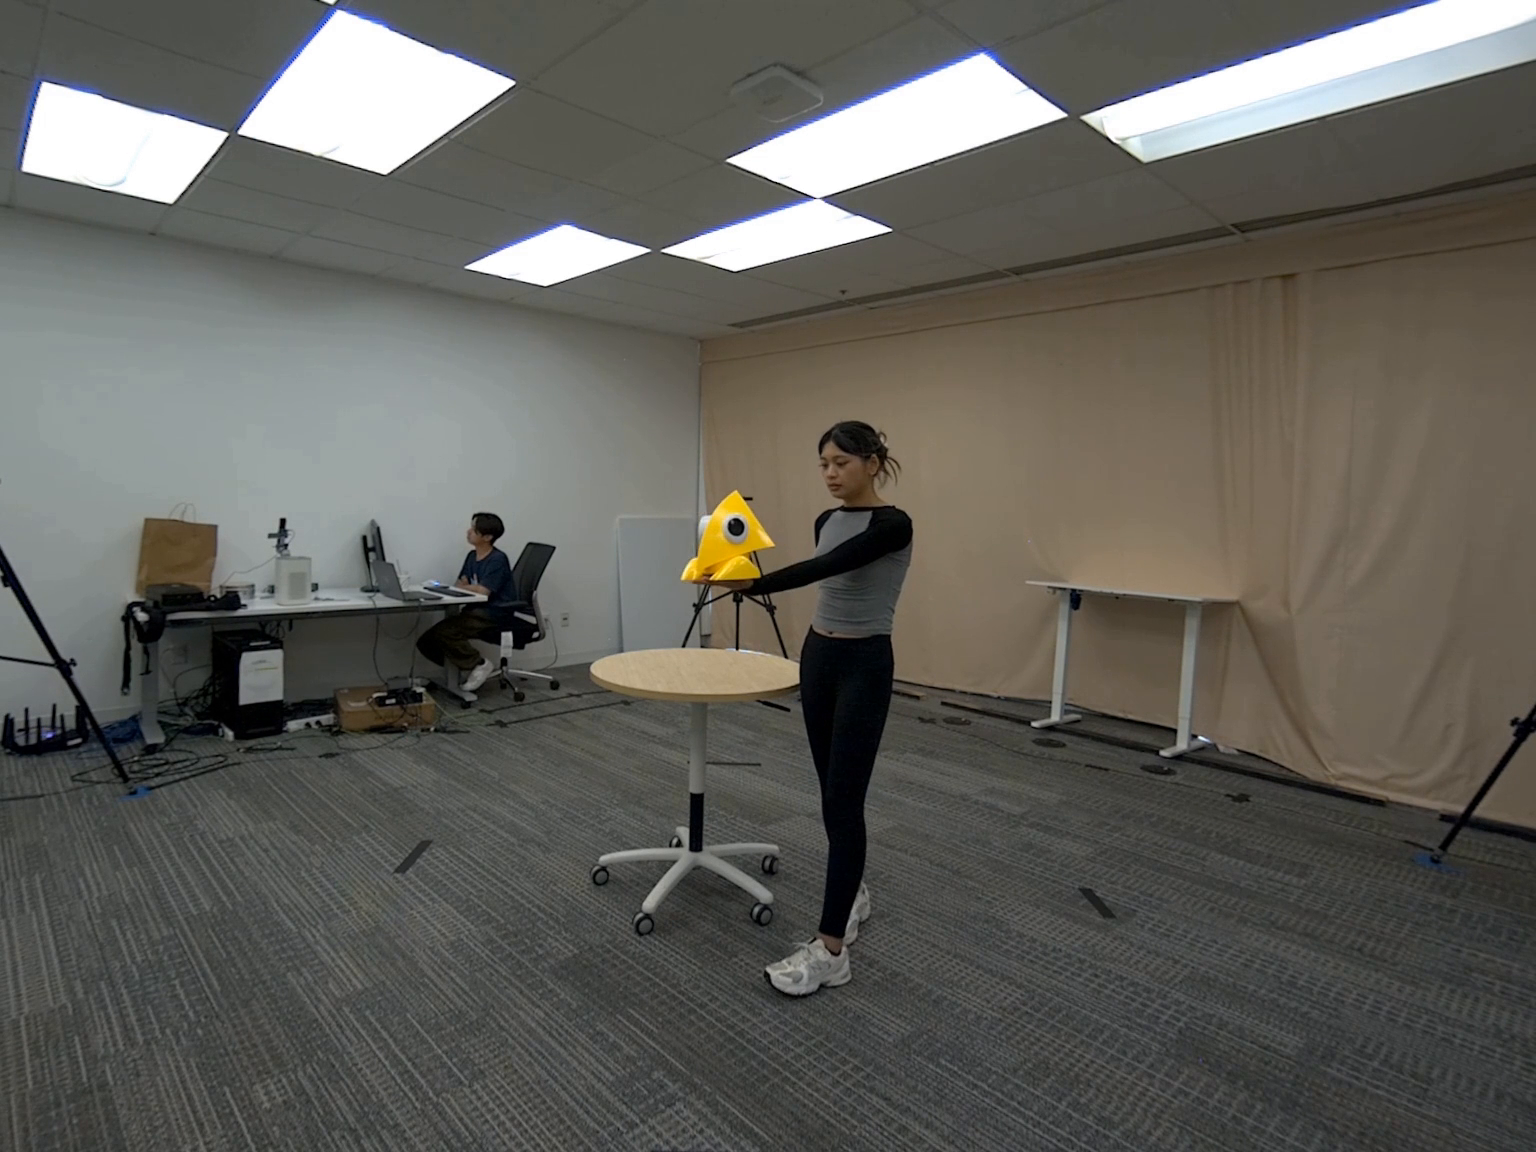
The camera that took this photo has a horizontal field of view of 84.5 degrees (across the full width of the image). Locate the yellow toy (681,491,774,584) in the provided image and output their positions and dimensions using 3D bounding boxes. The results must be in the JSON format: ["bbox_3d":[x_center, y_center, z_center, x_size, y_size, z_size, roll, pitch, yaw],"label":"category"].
[{"bbox_3d":[-0.123,-0.106,2.183,0.209,0.230,0.189,-1,1,43],"label":"yellow toy"}]
